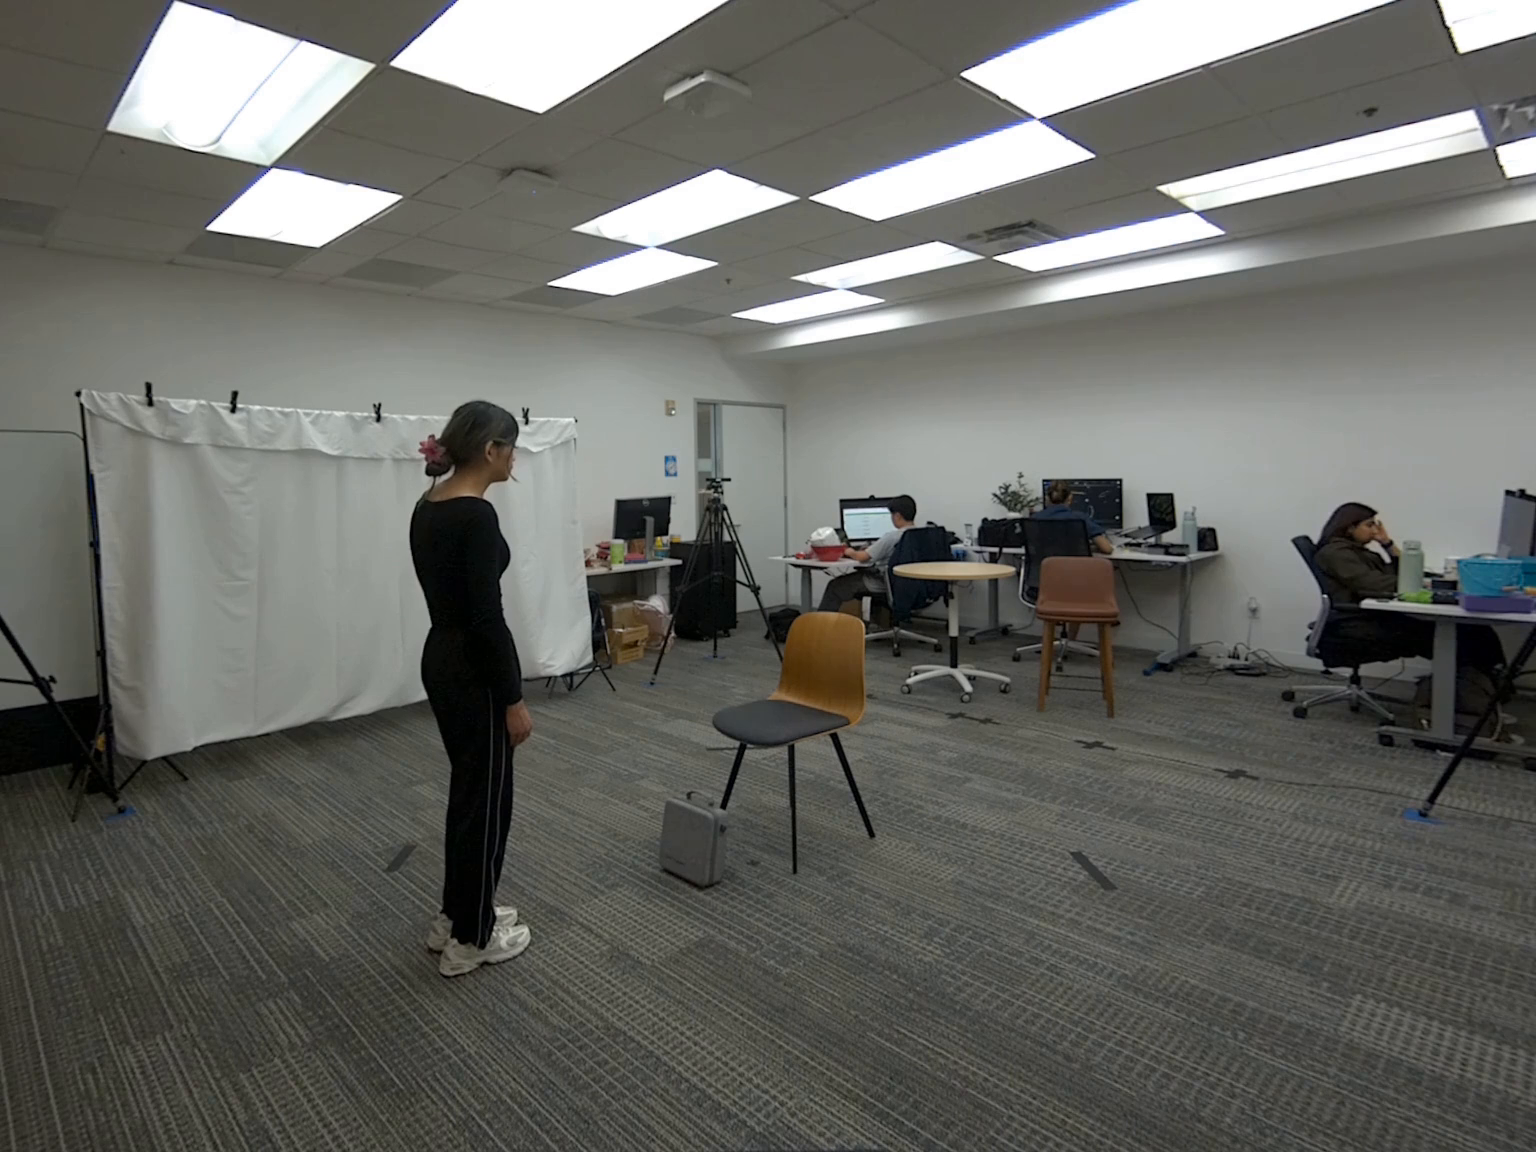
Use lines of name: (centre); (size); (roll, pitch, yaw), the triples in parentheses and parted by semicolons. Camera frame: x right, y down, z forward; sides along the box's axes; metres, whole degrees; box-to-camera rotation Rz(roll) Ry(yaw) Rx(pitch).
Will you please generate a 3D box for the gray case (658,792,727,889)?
gray case: (-0.260, 0.925, 3.017); (0.265, 0.261, 0.101); (5, -3, 45)
